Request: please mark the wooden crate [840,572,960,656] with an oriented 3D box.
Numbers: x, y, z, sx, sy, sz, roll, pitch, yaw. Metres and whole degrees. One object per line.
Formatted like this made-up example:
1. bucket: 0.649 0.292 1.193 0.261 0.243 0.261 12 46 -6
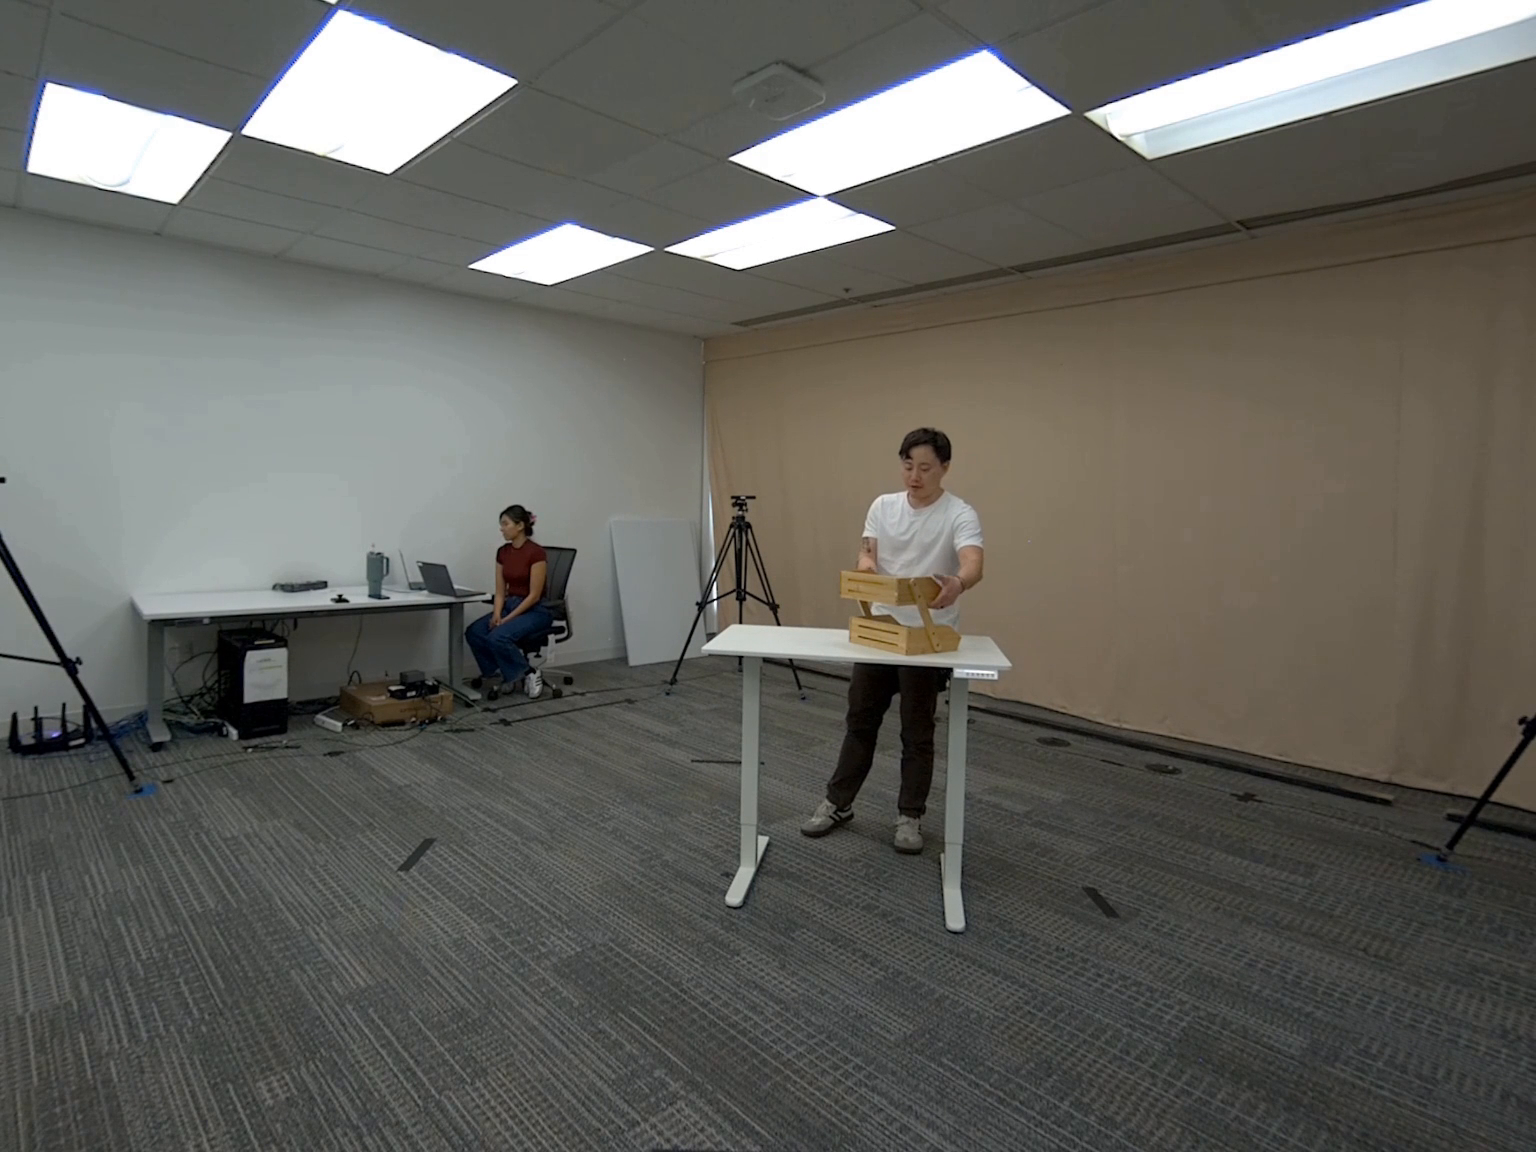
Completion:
1. wooden crate: 0.453 0.118 2.949 0.296 0.272 0.332 -1 5 -32
